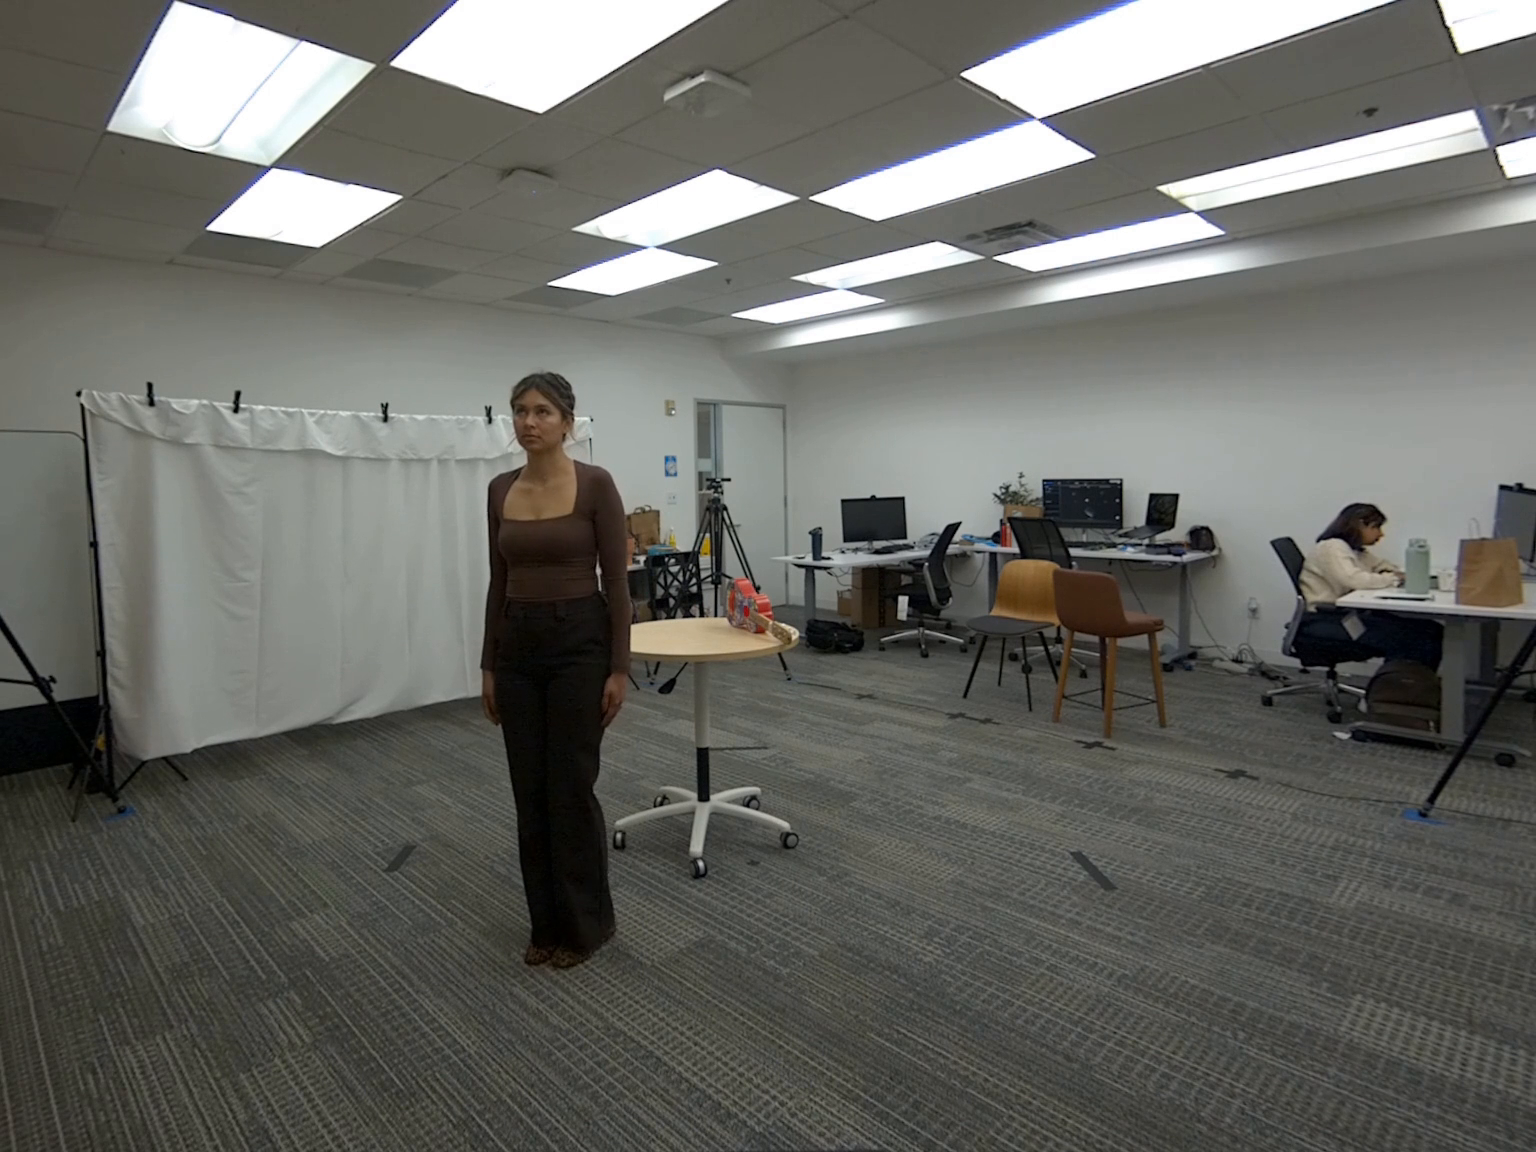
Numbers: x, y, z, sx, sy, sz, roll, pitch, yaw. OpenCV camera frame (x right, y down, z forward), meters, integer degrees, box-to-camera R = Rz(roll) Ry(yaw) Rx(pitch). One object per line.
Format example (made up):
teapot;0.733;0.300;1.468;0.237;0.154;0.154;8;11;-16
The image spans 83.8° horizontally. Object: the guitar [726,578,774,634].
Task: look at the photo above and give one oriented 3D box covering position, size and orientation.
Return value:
guitar;-0.027;0.183;3.290;0.069;0.190;0.517;-5;26;-29
